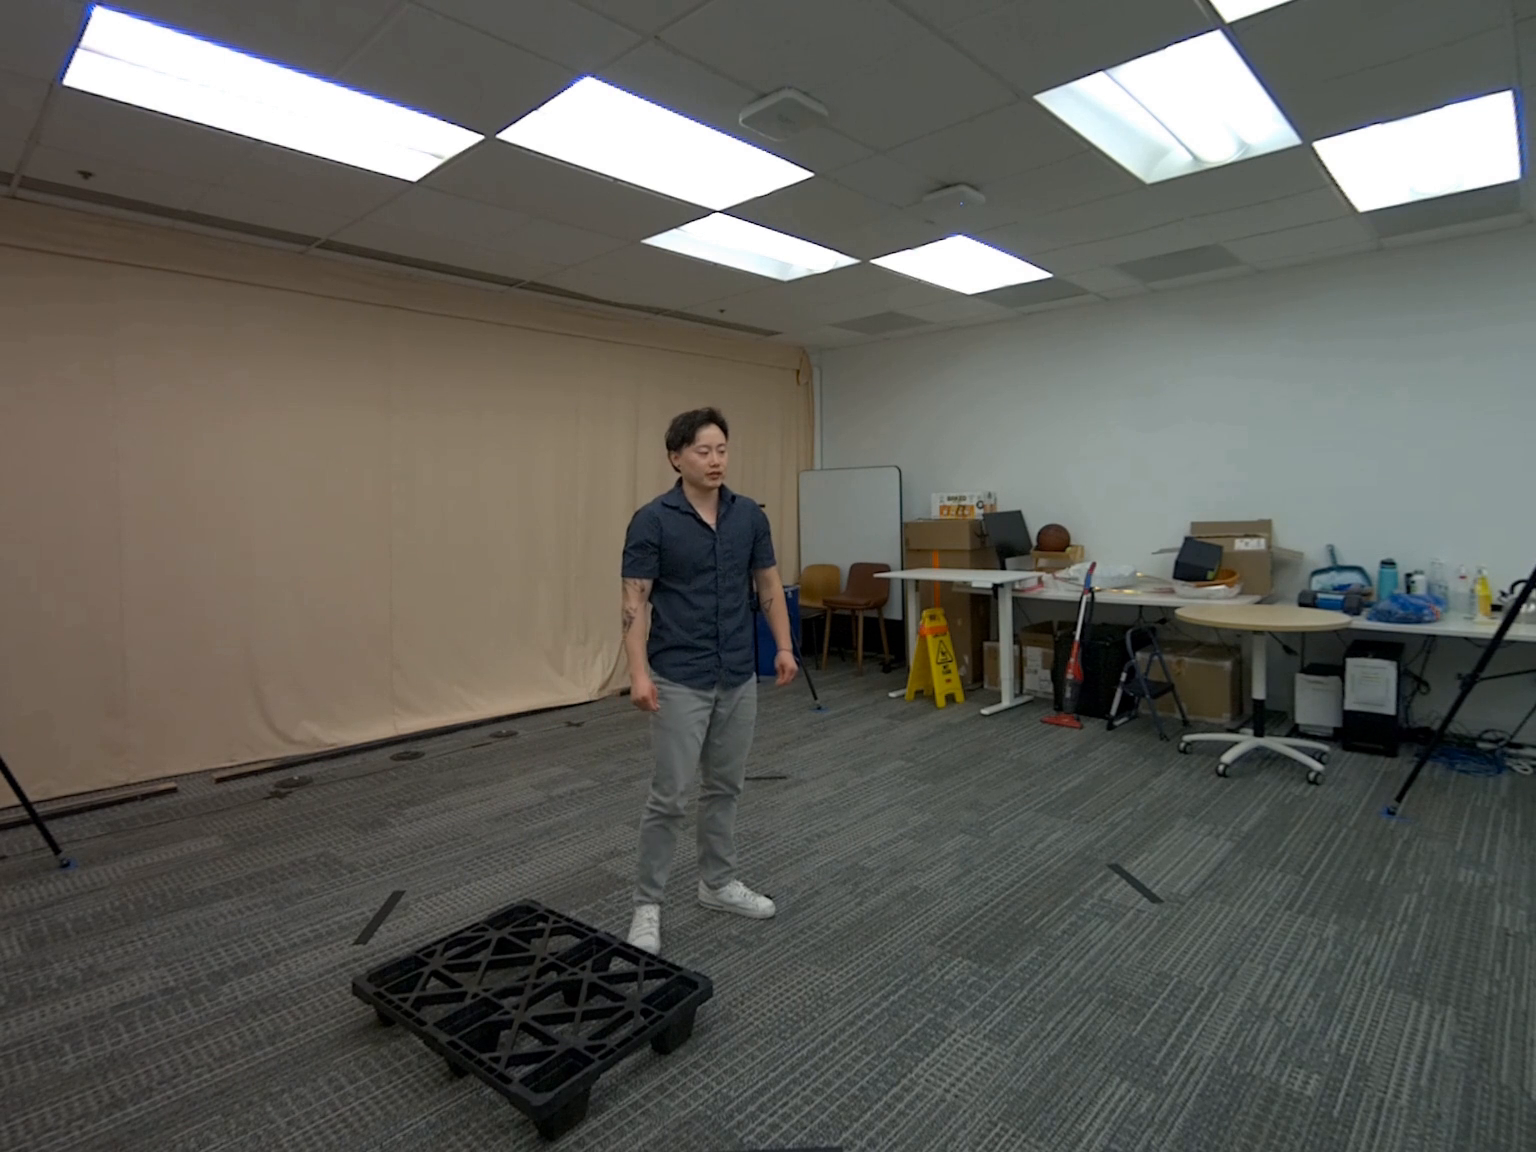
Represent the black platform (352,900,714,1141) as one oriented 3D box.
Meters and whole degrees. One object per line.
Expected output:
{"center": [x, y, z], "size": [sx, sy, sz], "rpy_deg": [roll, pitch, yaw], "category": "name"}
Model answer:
{"center": [-0.636, 1.152, 2.246], "size": [0.831, 0.143, 0.588], "rpy_deg": [2, 7, 38], "category": "black platform"}
